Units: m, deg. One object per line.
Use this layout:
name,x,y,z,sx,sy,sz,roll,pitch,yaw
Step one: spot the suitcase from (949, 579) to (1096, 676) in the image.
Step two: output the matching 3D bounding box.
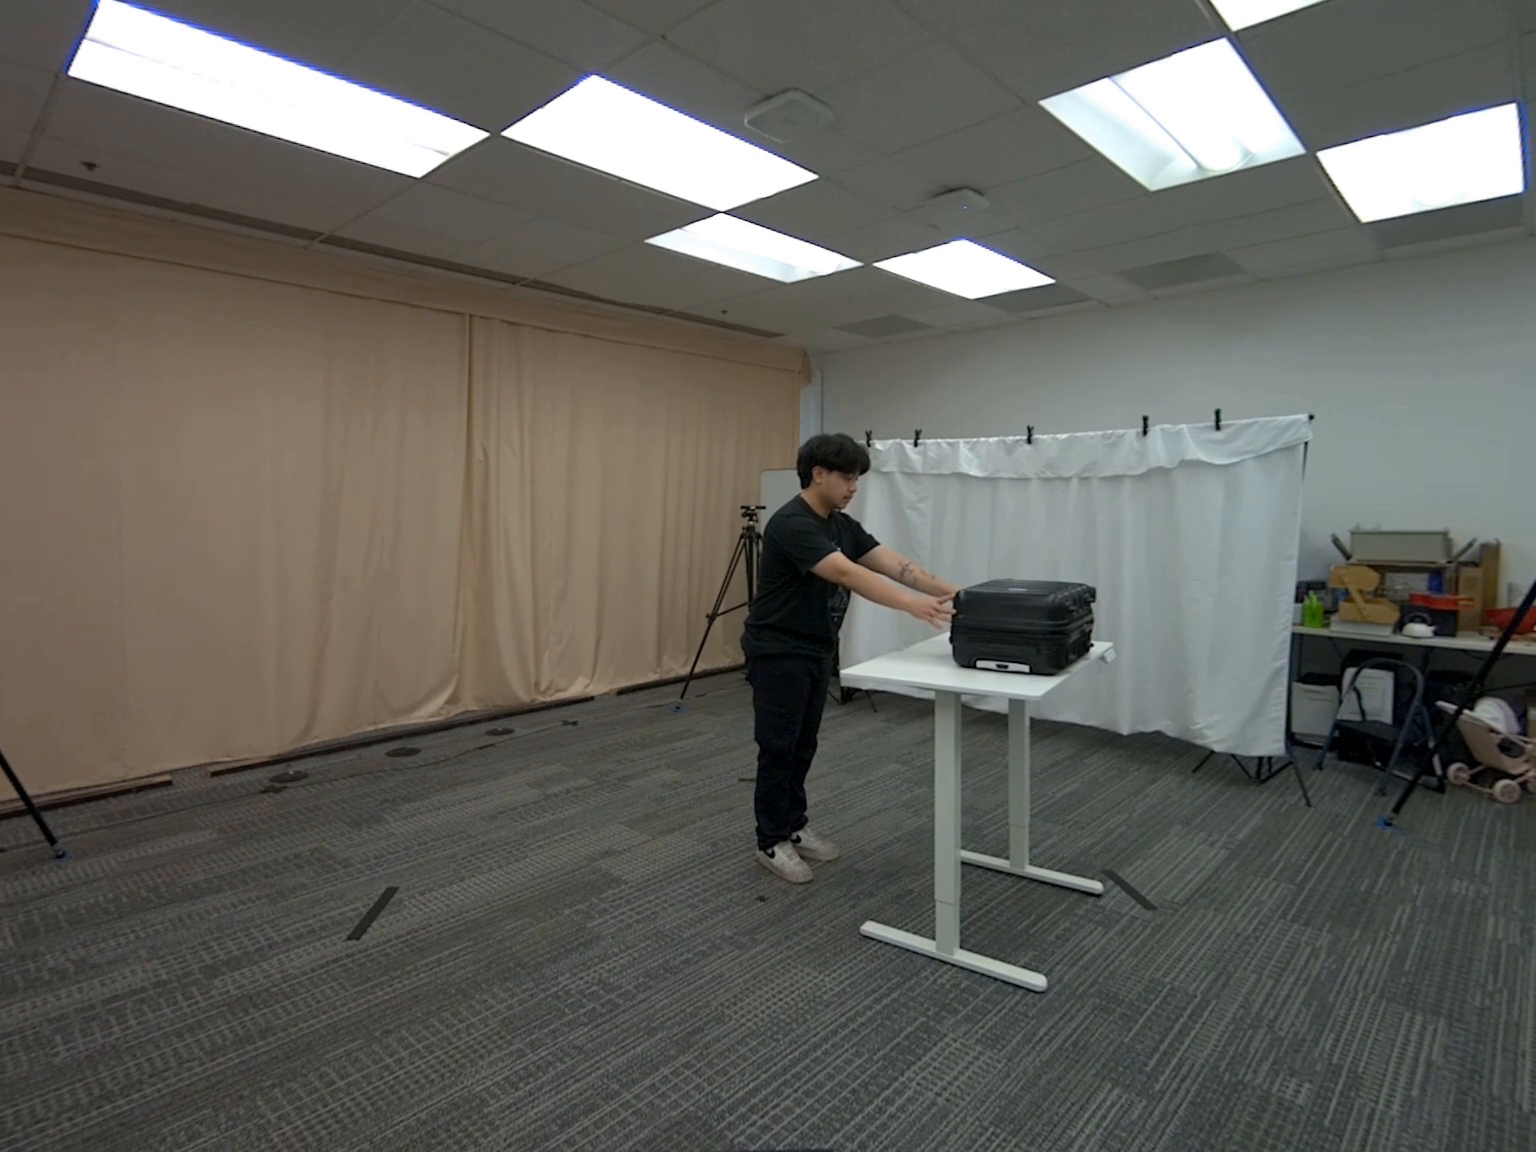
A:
suitcase,0.845,0.159,2.757,0.387,0.247,0.534,3,6,33
